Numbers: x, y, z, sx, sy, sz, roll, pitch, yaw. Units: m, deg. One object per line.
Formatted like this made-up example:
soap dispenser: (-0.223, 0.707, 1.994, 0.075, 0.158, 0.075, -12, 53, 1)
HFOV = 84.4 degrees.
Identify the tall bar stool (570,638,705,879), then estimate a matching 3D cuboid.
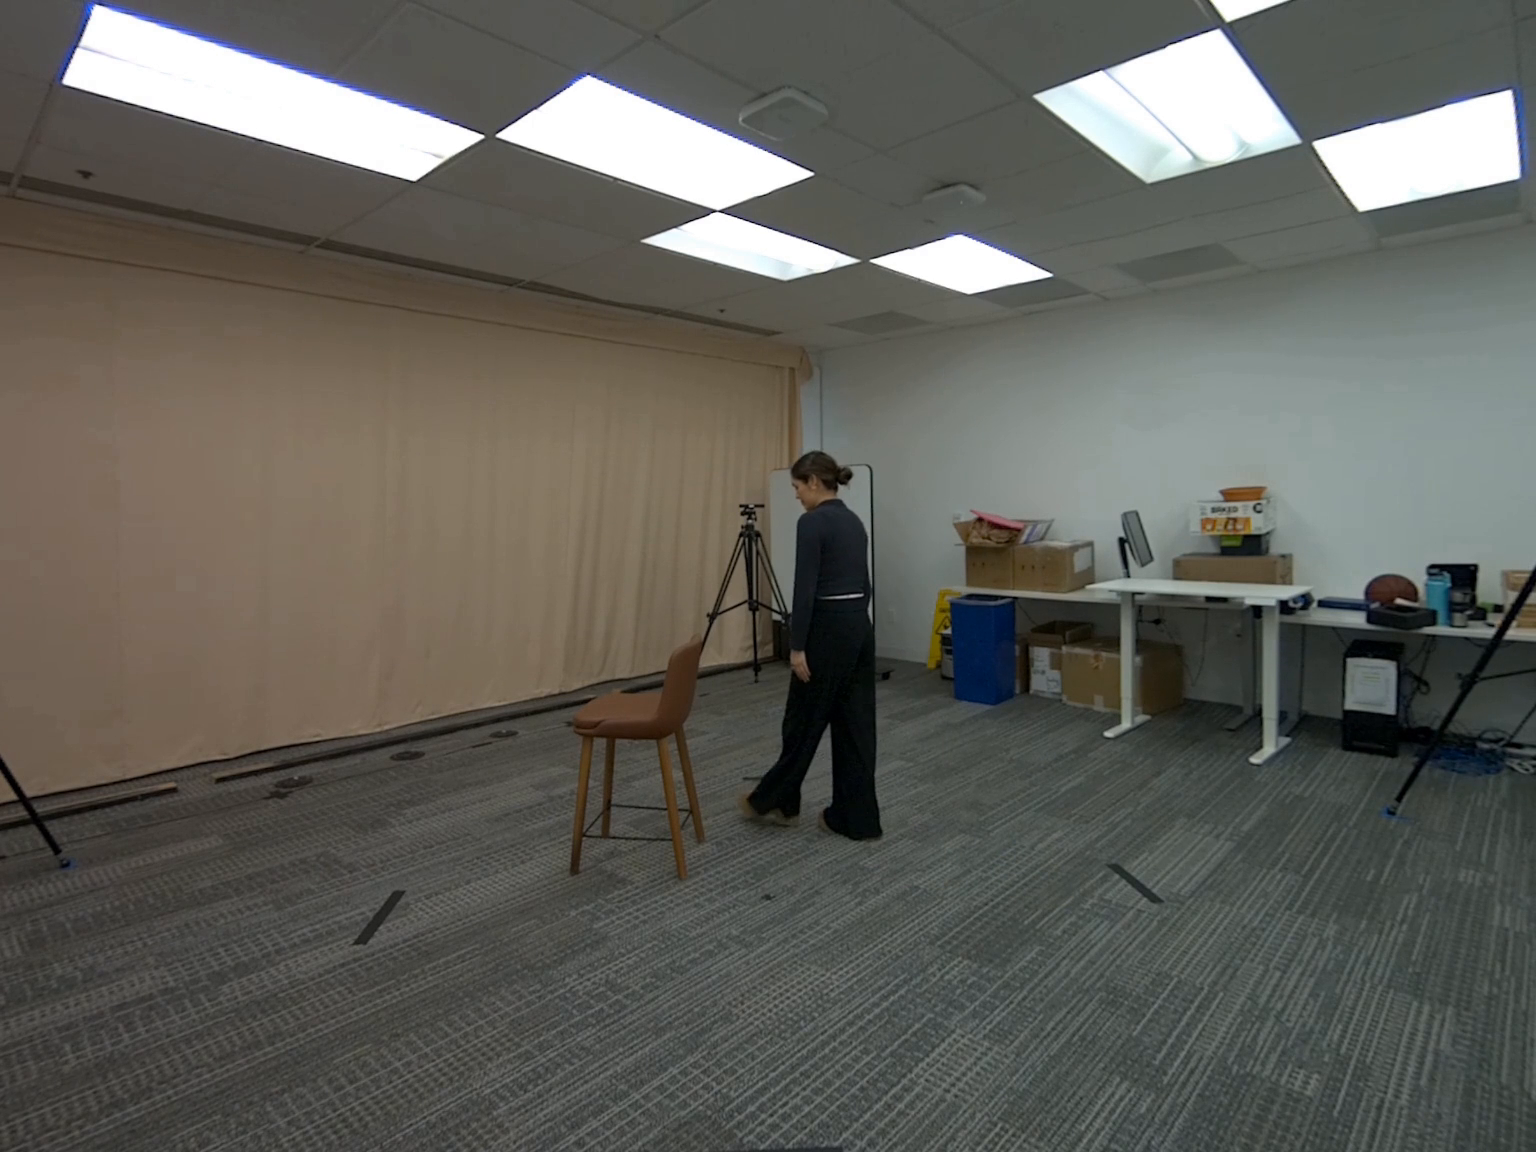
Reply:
tall bar stool: (-0.506, 0.687, 3.339, 0.473, 0.888, 0.452, 1, 4, 10)
